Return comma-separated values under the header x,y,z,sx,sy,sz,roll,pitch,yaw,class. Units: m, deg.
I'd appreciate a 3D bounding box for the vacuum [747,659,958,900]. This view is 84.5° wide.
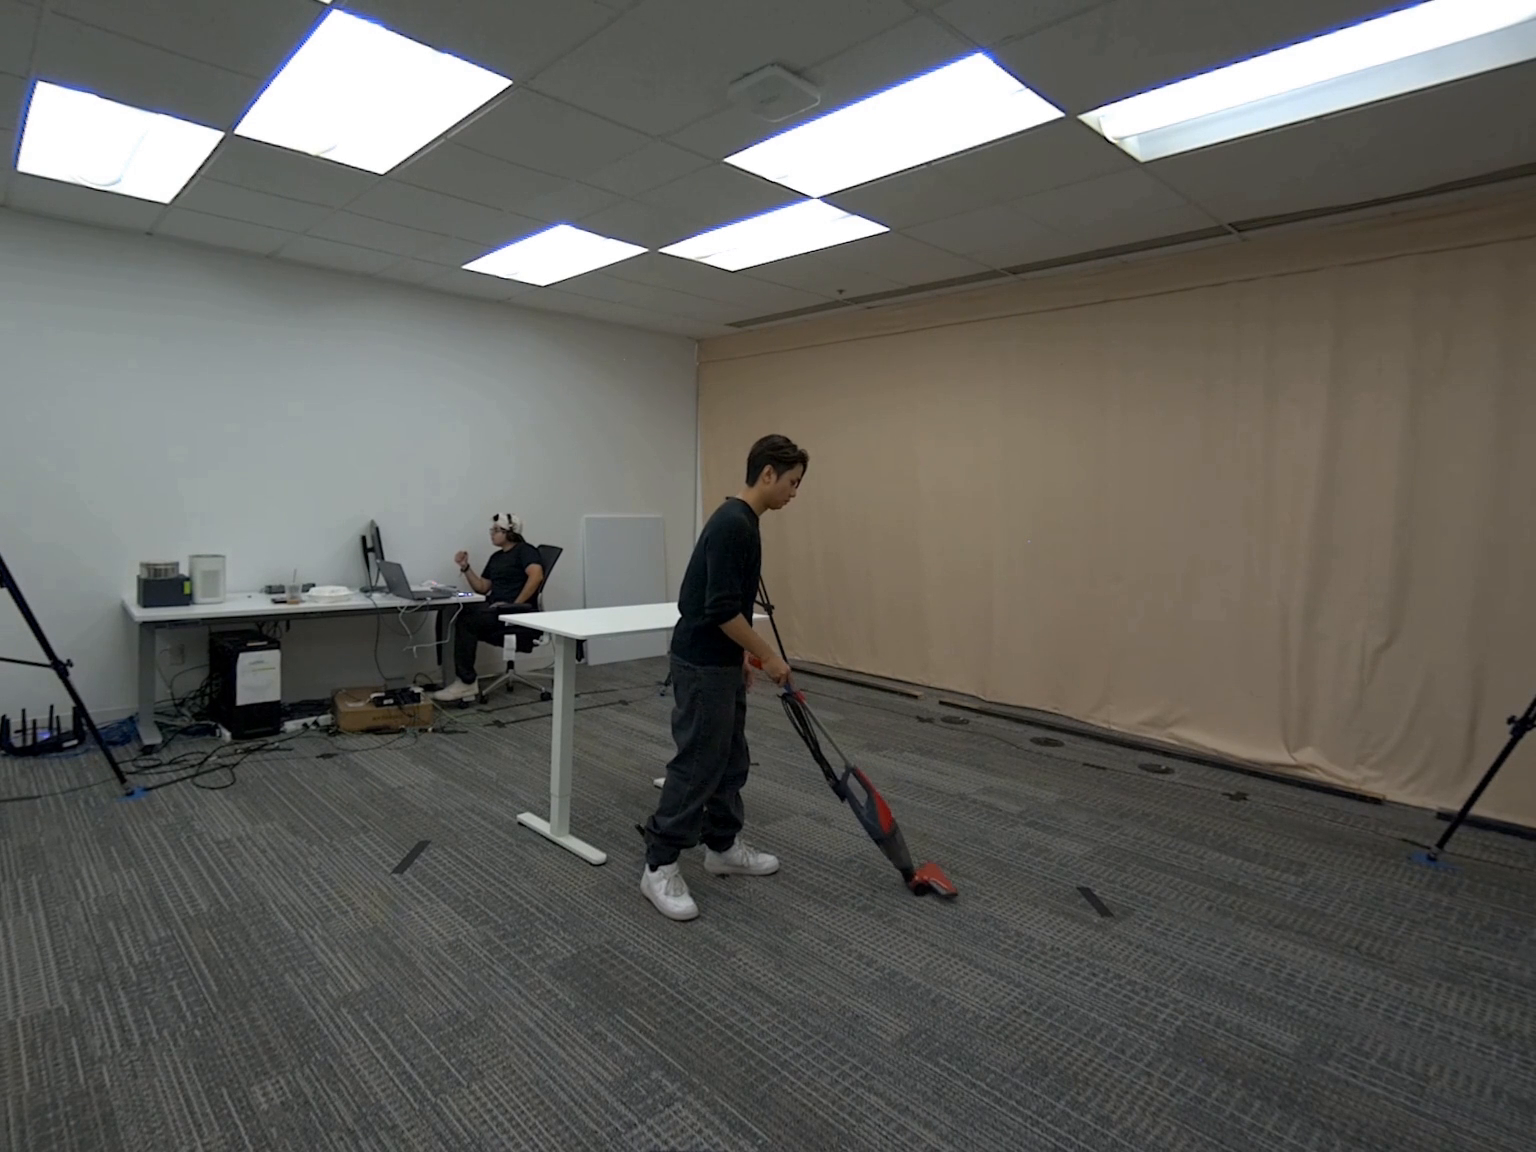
x,y,z,sx,sy,sz,roll,pitch,yaw,class
0.259,0.703,2.993,0.144,1.042,0.254,-37,6,-6,vacuum
